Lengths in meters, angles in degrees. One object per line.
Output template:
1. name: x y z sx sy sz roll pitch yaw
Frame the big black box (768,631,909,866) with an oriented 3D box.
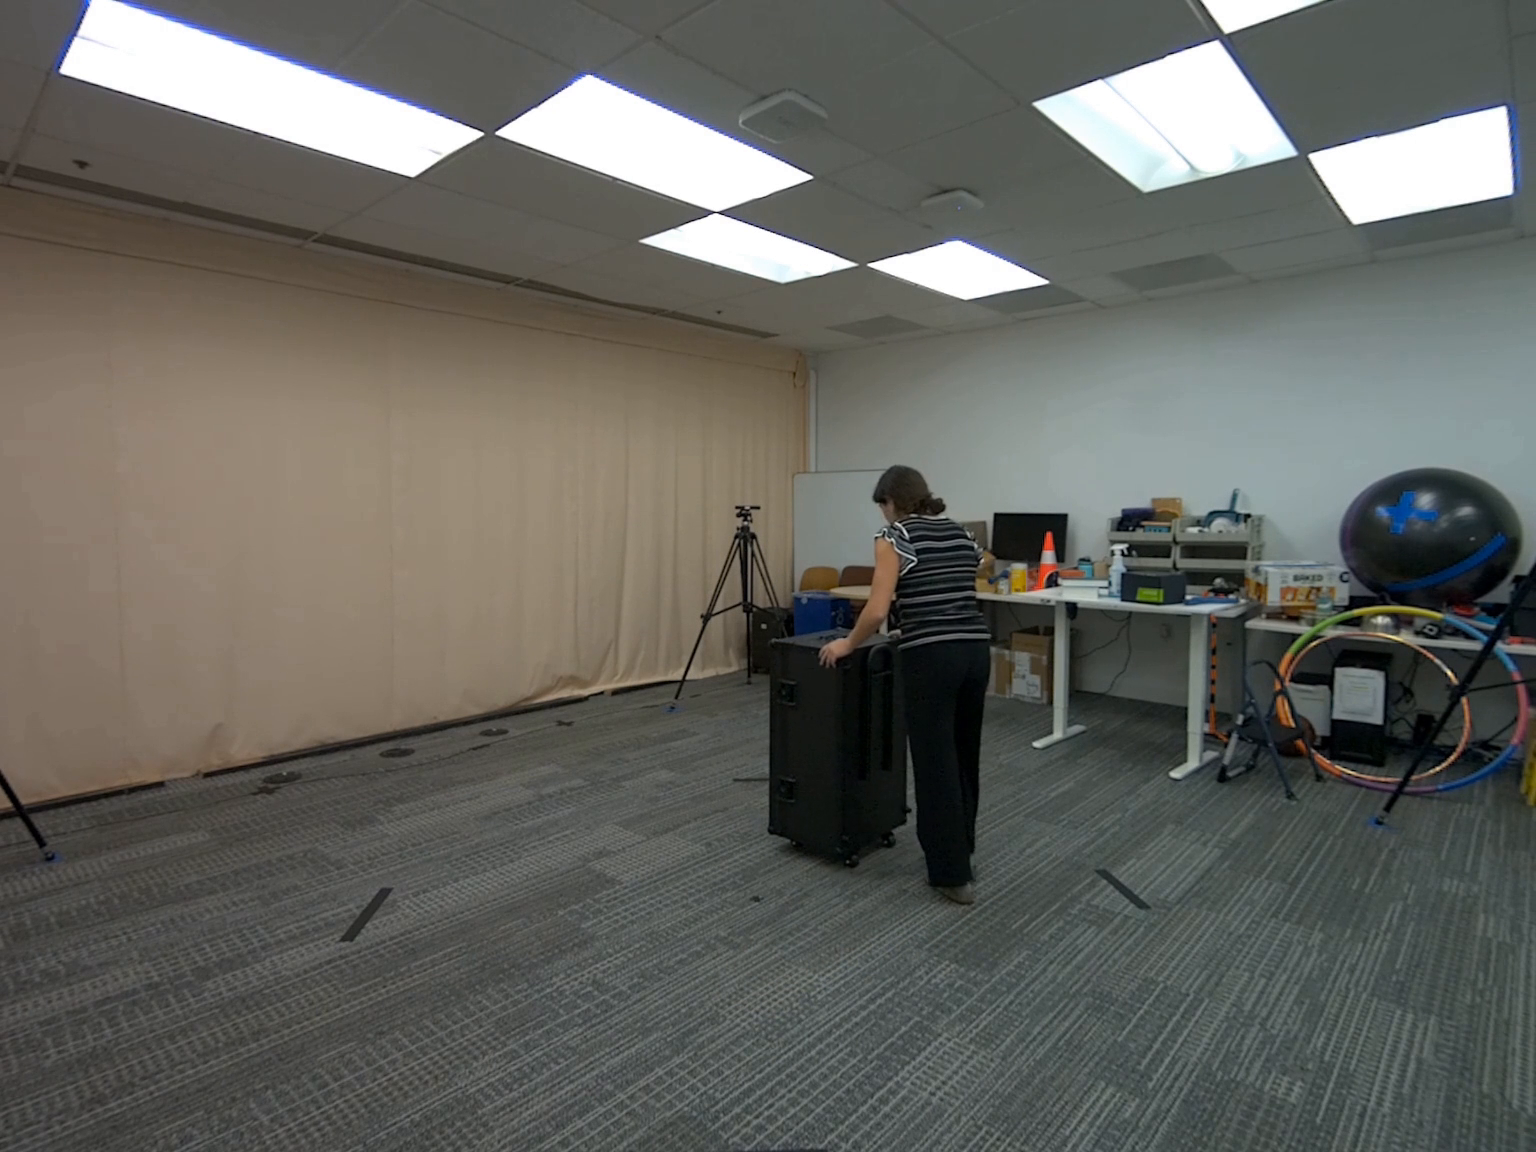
1. big black box: 0.305 0.680 3.436 0.409 0.860 0.505 3 4 41
